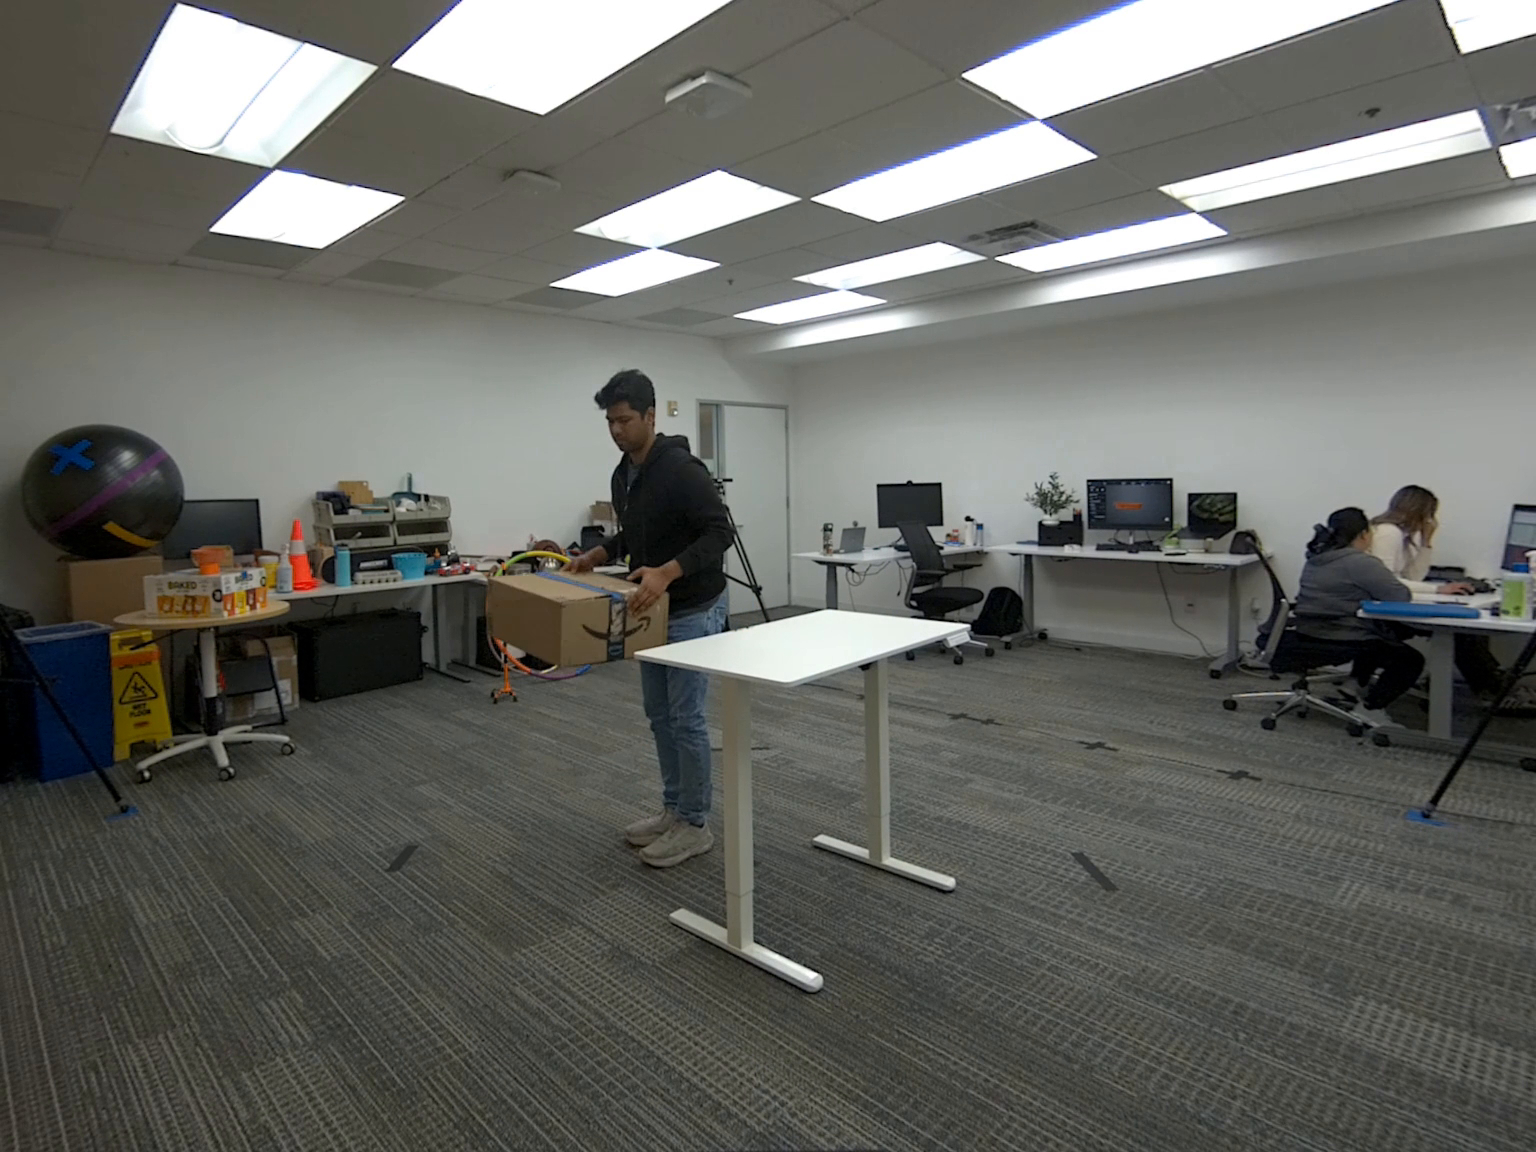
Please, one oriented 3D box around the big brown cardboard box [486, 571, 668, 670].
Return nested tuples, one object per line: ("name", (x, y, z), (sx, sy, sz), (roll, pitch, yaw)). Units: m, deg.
("big brown cardboard box", (-0.680, 0.142, 3.038), (0.406, 0.232, 0.608), (-5, 10, -40))
